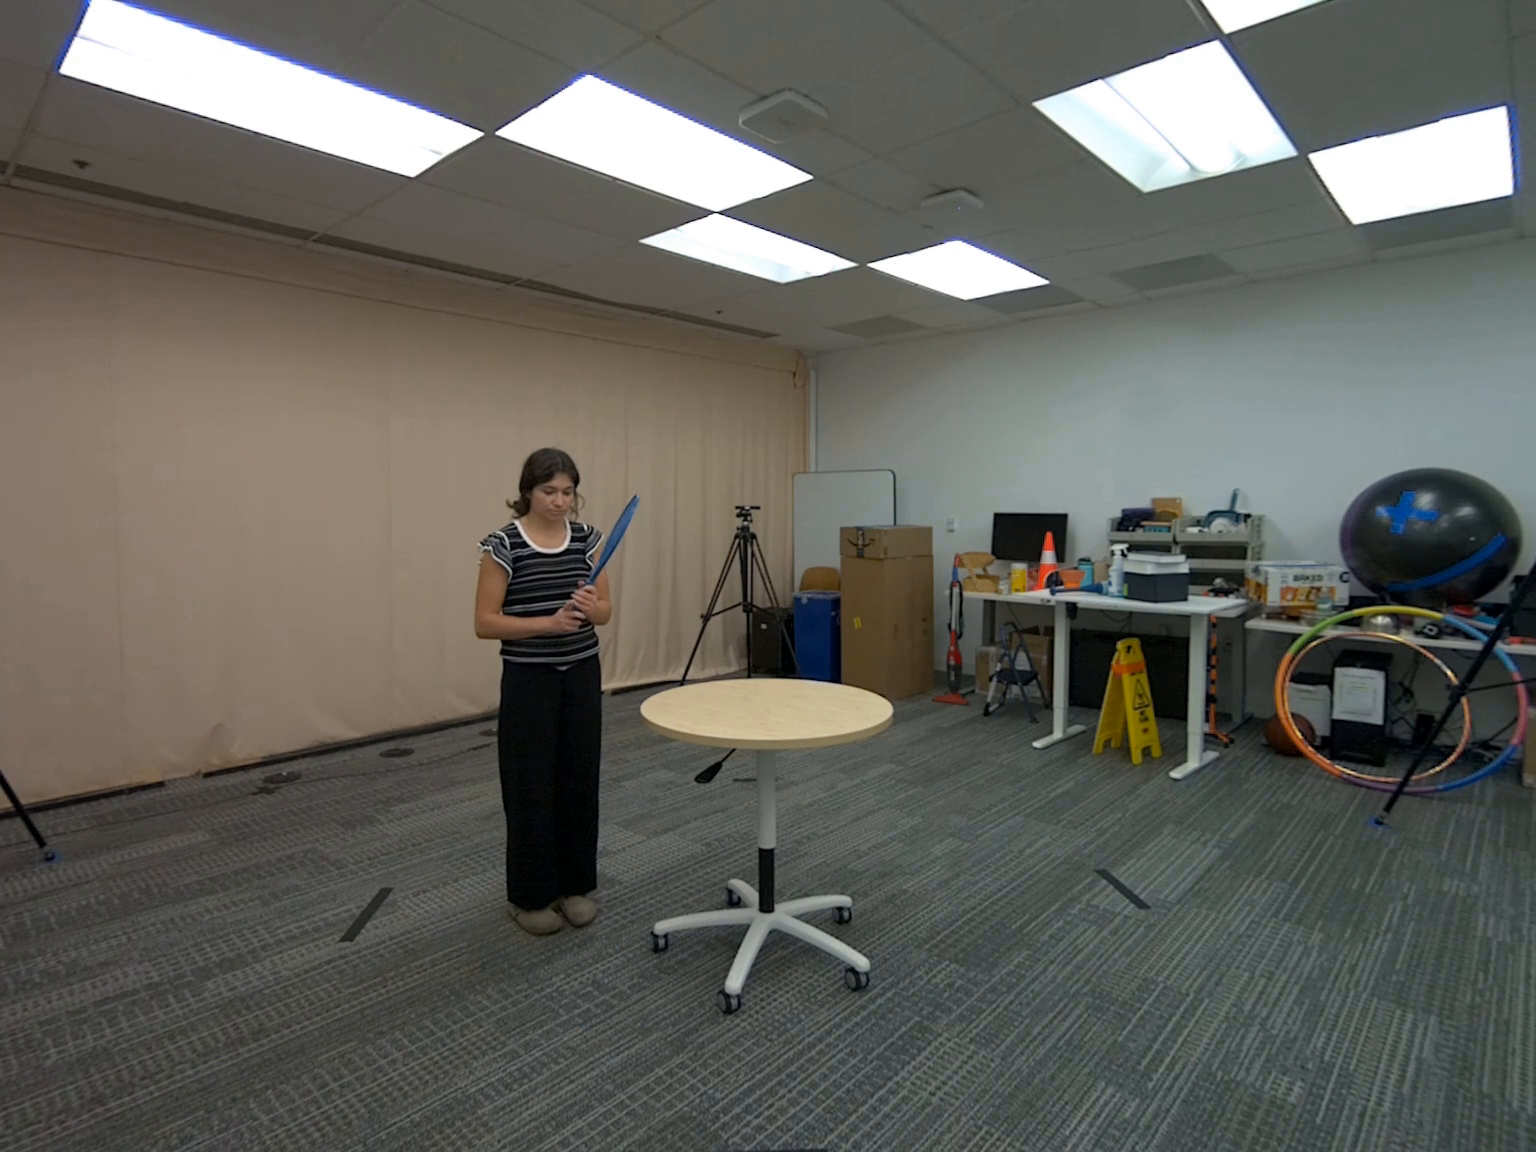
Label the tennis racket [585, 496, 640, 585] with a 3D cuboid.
[{"bbox_3d":[-0.503,-0.061,2.660,0.031,0.432,0.217,25,9,-13],"label":"tennis racket"}]
